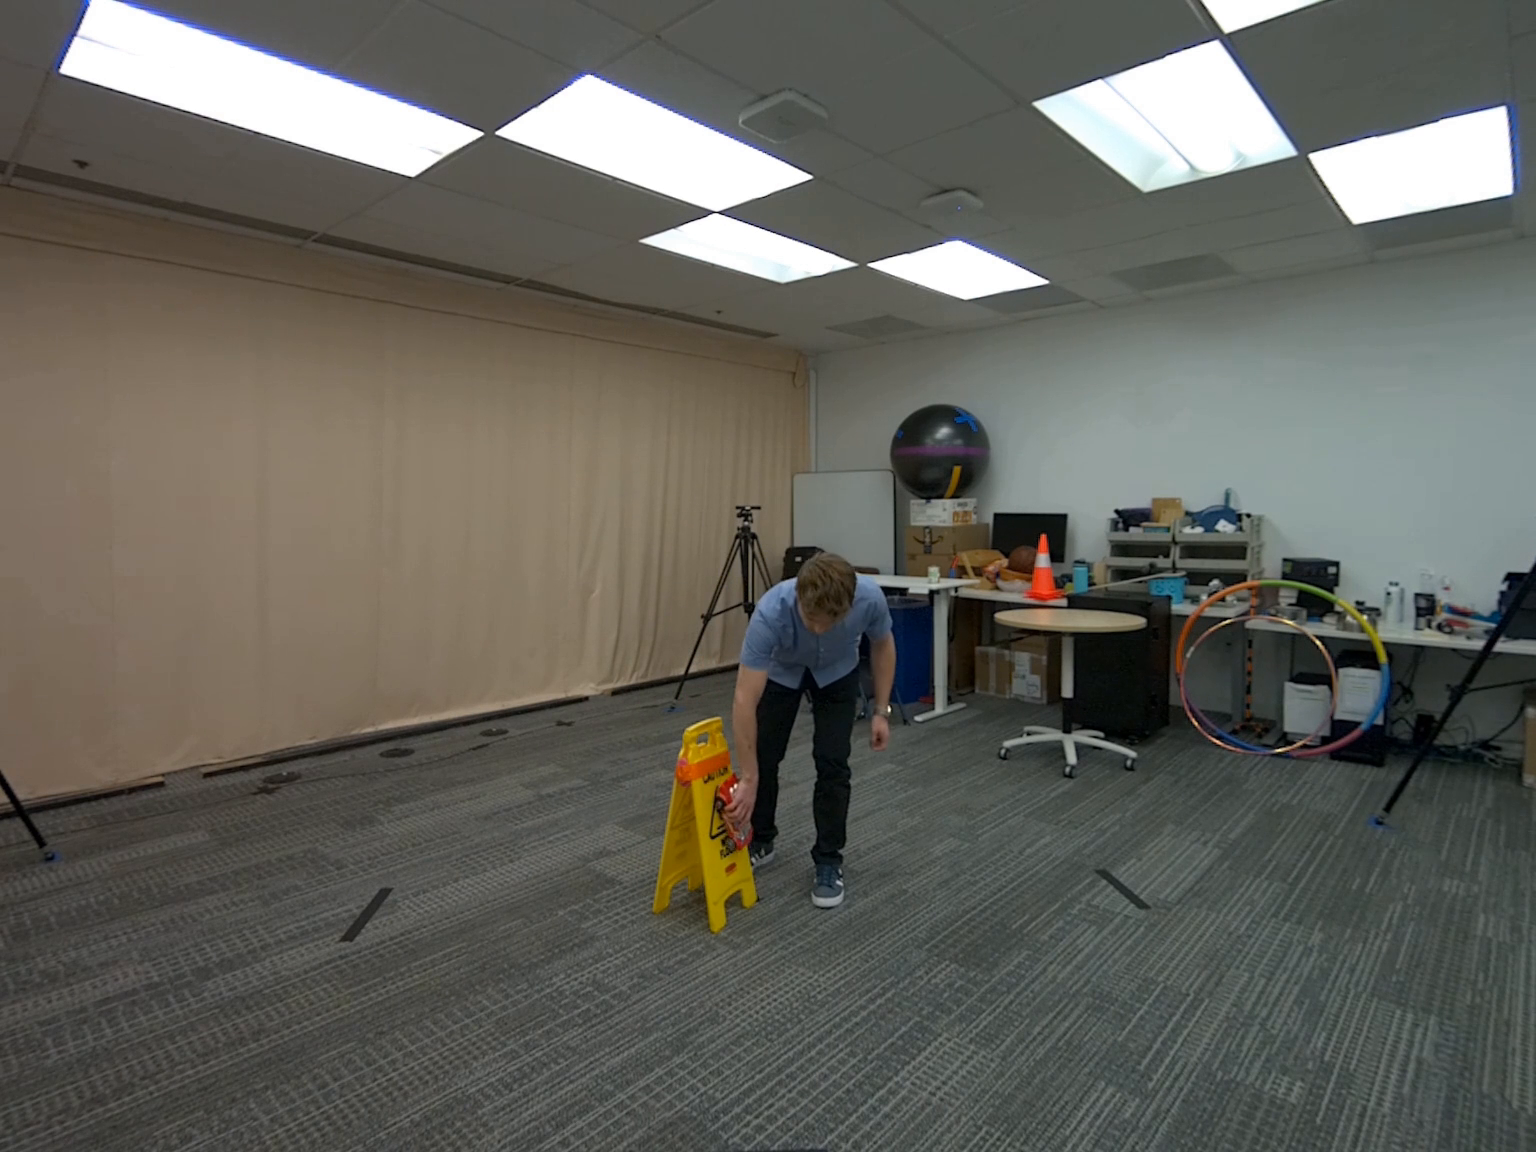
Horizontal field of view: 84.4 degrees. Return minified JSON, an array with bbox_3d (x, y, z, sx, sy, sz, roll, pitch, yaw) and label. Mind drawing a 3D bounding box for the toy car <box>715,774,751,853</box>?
[{"bbox_3d":[-0.121,0.811,2.909,0.085,0.253,0.127,-2,8,29],"label":"toy car"}]
